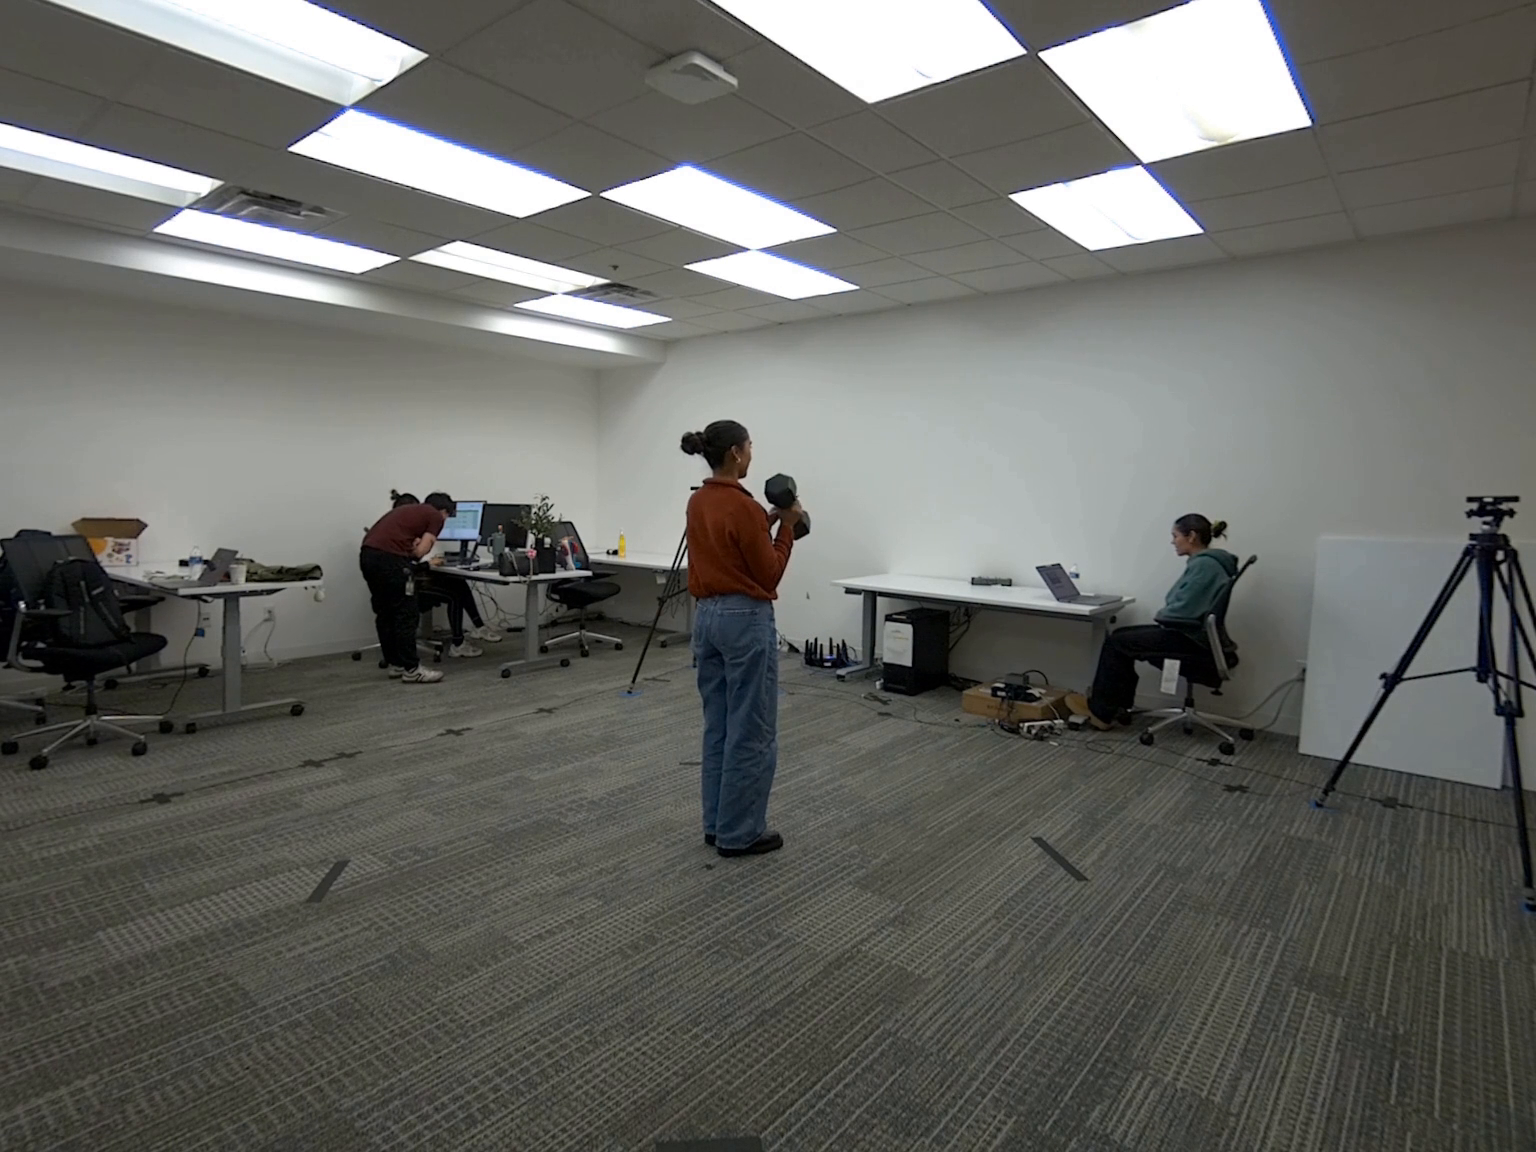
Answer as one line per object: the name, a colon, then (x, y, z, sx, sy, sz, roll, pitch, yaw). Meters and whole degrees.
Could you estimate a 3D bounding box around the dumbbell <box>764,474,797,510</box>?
dumbbell: (0.065, -0.265, 3.258, 0.123, 0.113, 0.282, -29, -41, -1)
